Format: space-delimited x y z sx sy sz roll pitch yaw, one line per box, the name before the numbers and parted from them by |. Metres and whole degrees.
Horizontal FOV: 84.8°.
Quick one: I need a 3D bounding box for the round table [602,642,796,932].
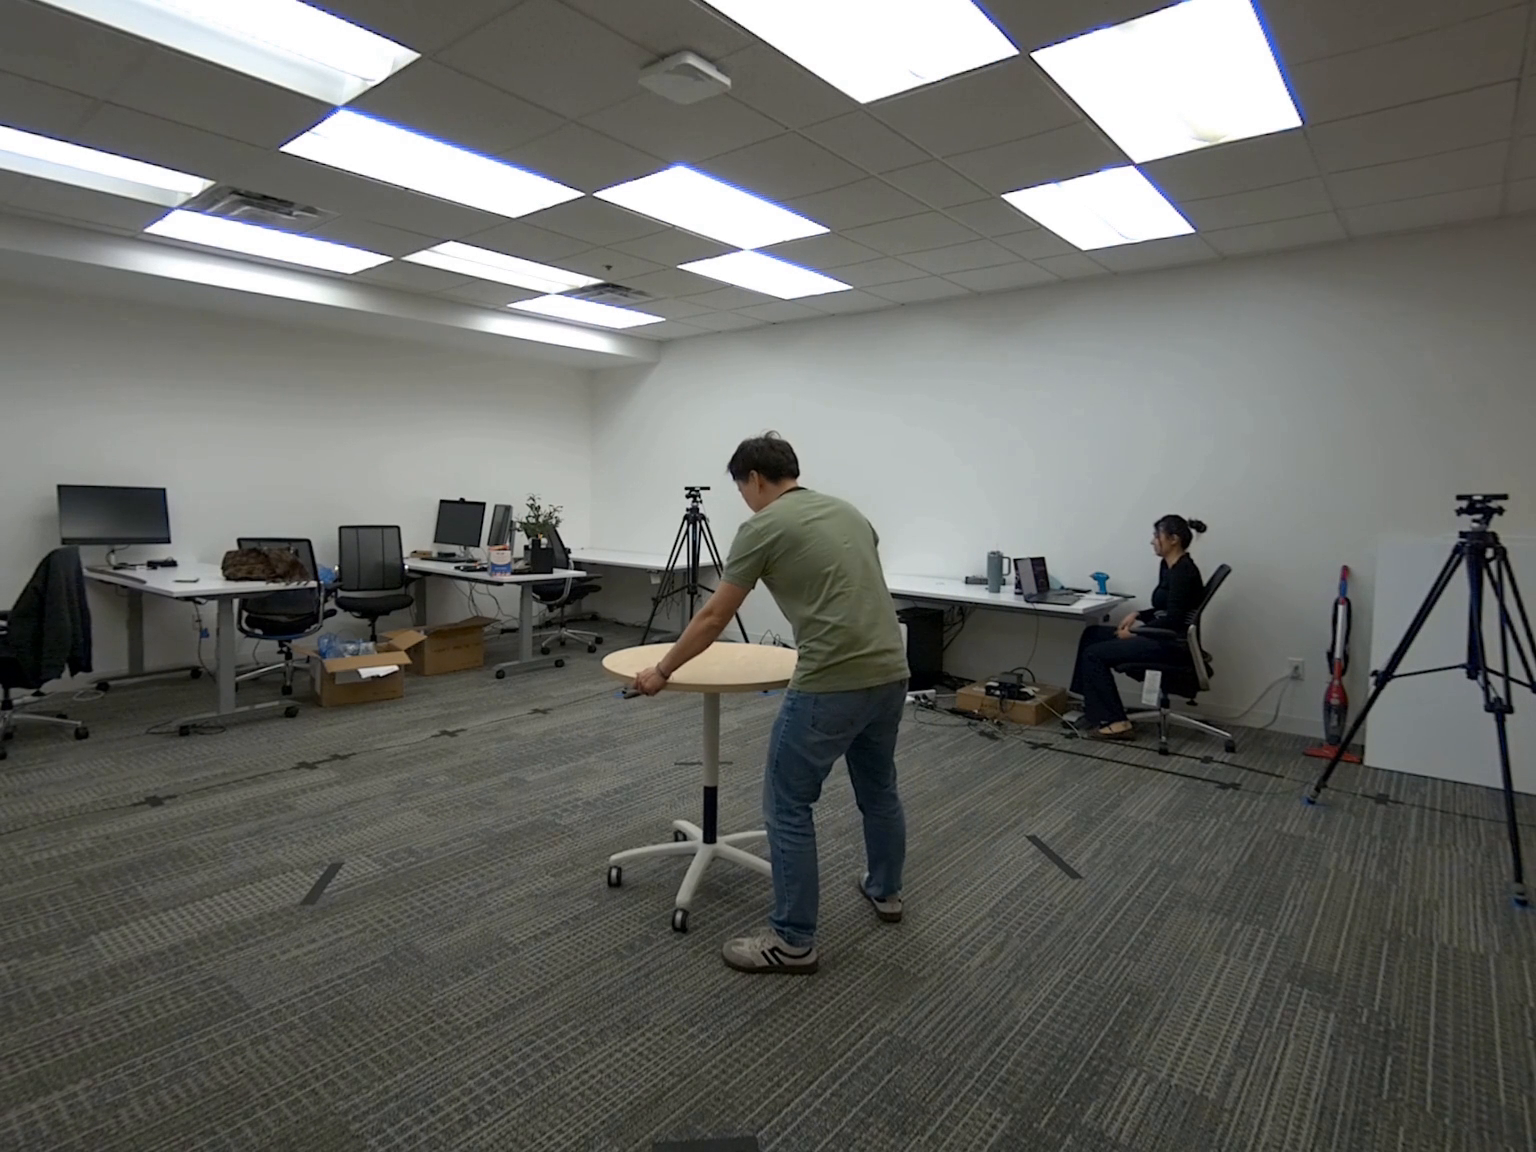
round table | -0.216 0.686 2.993 0.763 0.792 0.767 1 4 -2
